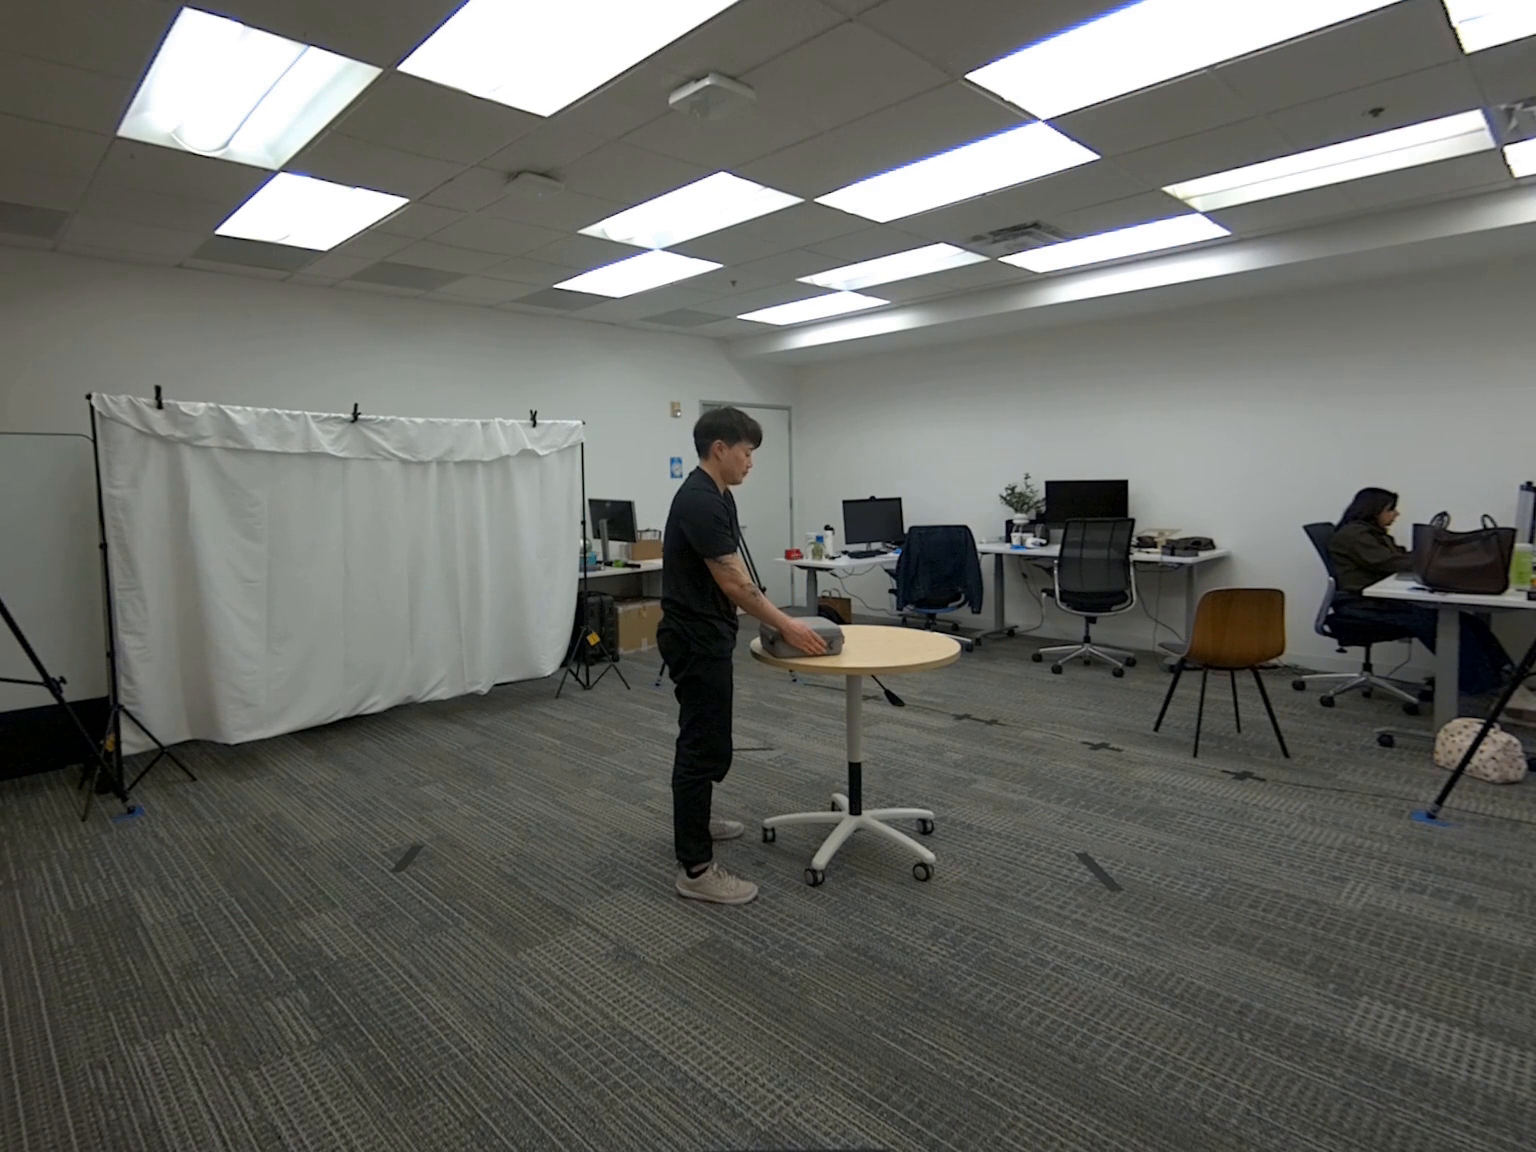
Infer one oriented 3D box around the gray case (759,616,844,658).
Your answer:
[{"bbox_3d":[0.119,0.214,3.064,0.258,0.104,0.260,-2,5,-11],"label":"gray case"}]
